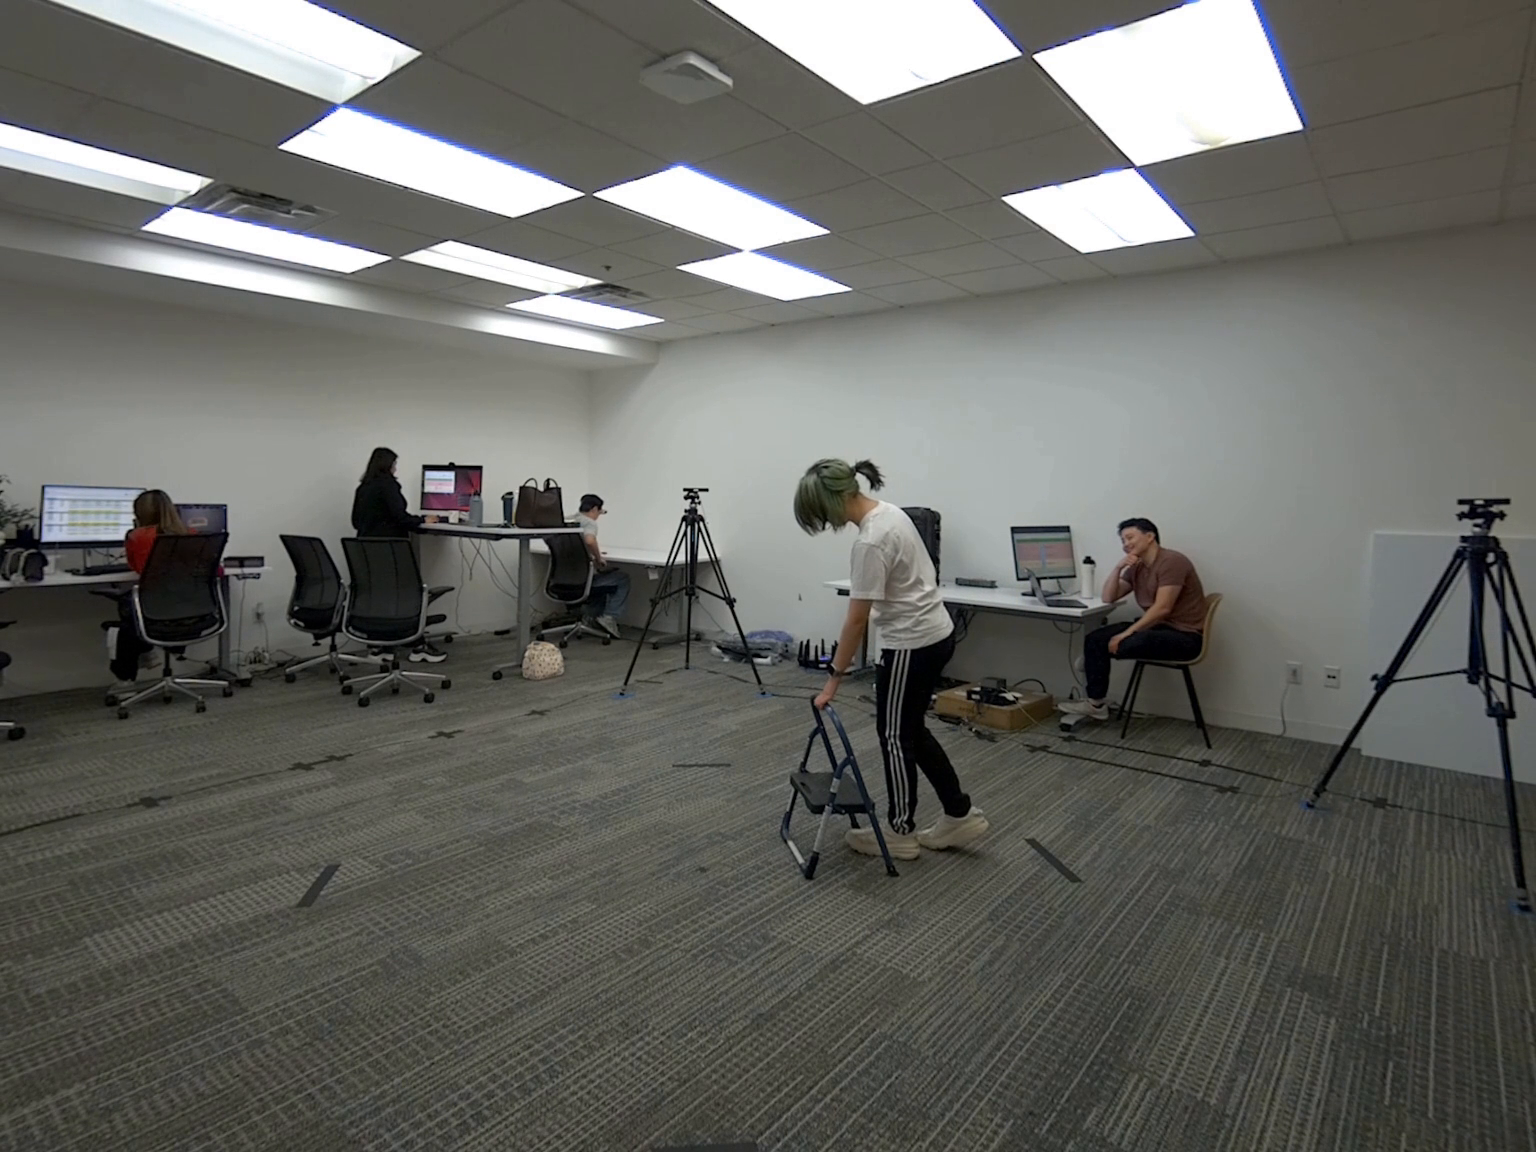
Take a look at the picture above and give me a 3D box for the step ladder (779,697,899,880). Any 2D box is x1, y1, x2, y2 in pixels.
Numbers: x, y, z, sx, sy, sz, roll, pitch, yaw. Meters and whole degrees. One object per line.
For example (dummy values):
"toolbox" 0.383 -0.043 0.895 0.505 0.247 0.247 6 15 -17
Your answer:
"step ladder" 0.261 0.767 3.254 0.345 0.604 0.437 1 3 -12
